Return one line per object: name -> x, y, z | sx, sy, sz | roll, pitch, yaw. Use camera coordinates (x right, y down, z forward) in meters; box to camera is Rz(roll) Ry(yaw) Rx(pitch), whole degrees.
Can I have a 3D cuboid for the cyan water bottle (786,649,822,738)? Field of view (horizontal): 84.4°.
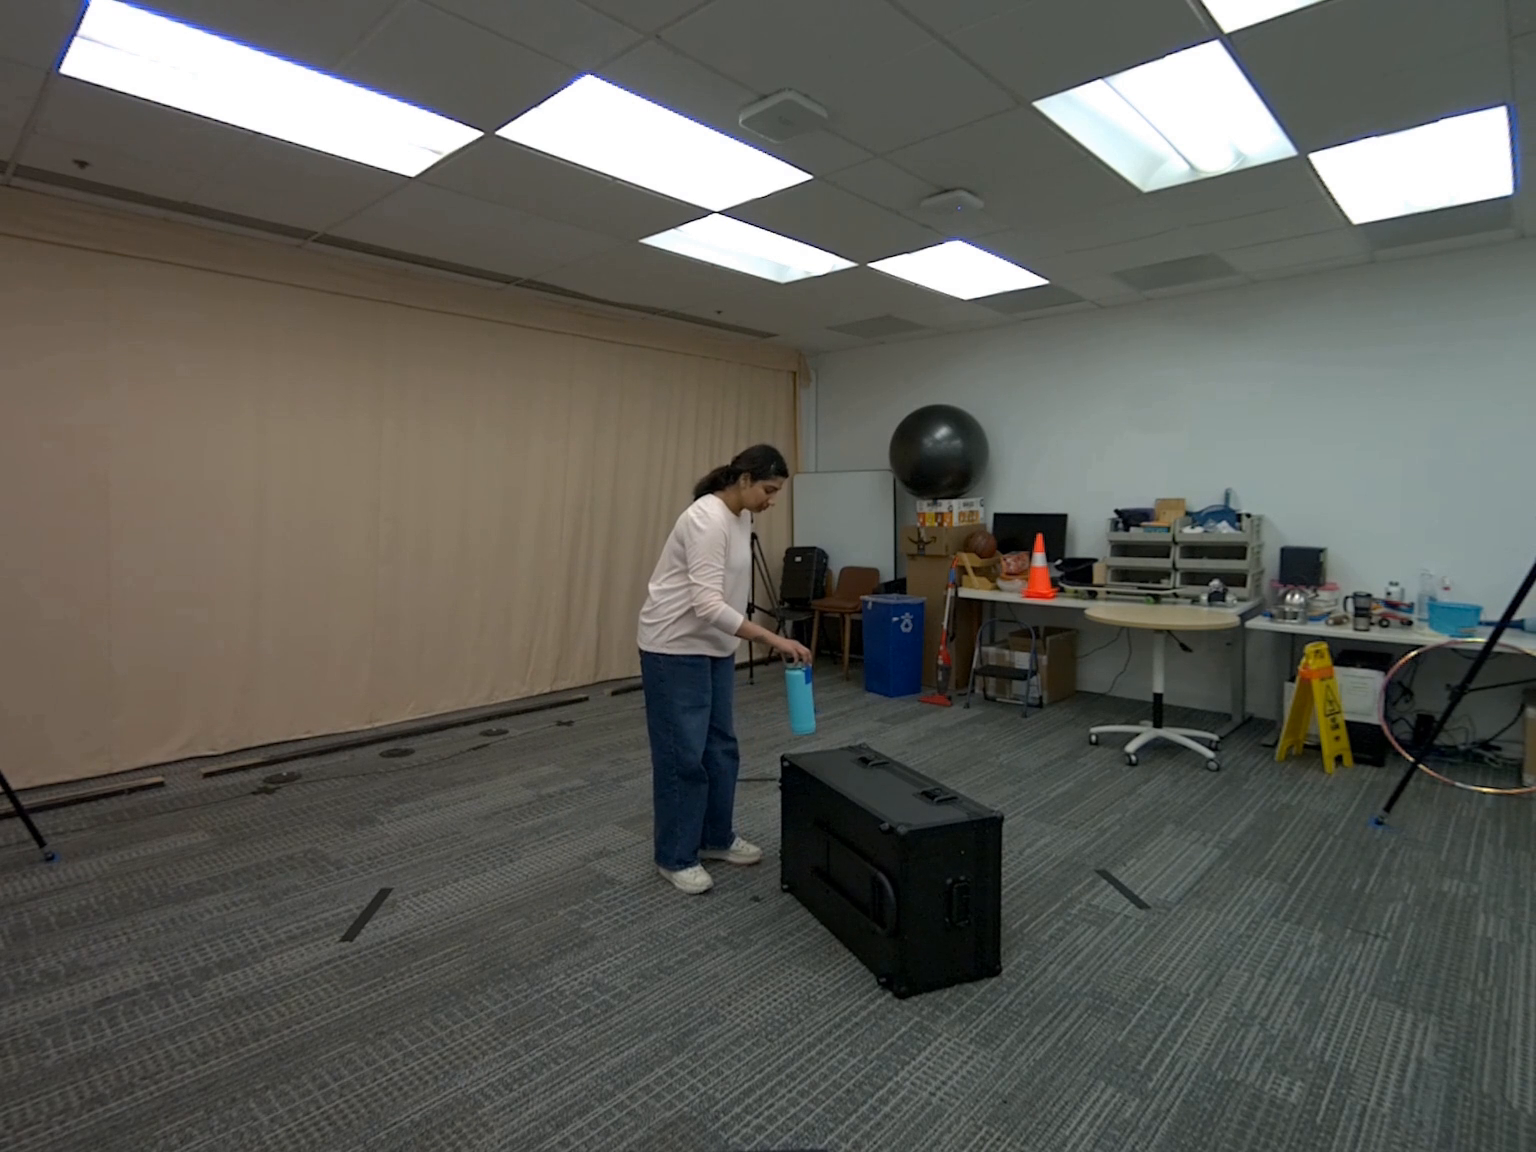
cyan water bottle -> 0.121, 0.409, 2.967 | 0.092, 0.282, 0.093 | -5, 4, -1
